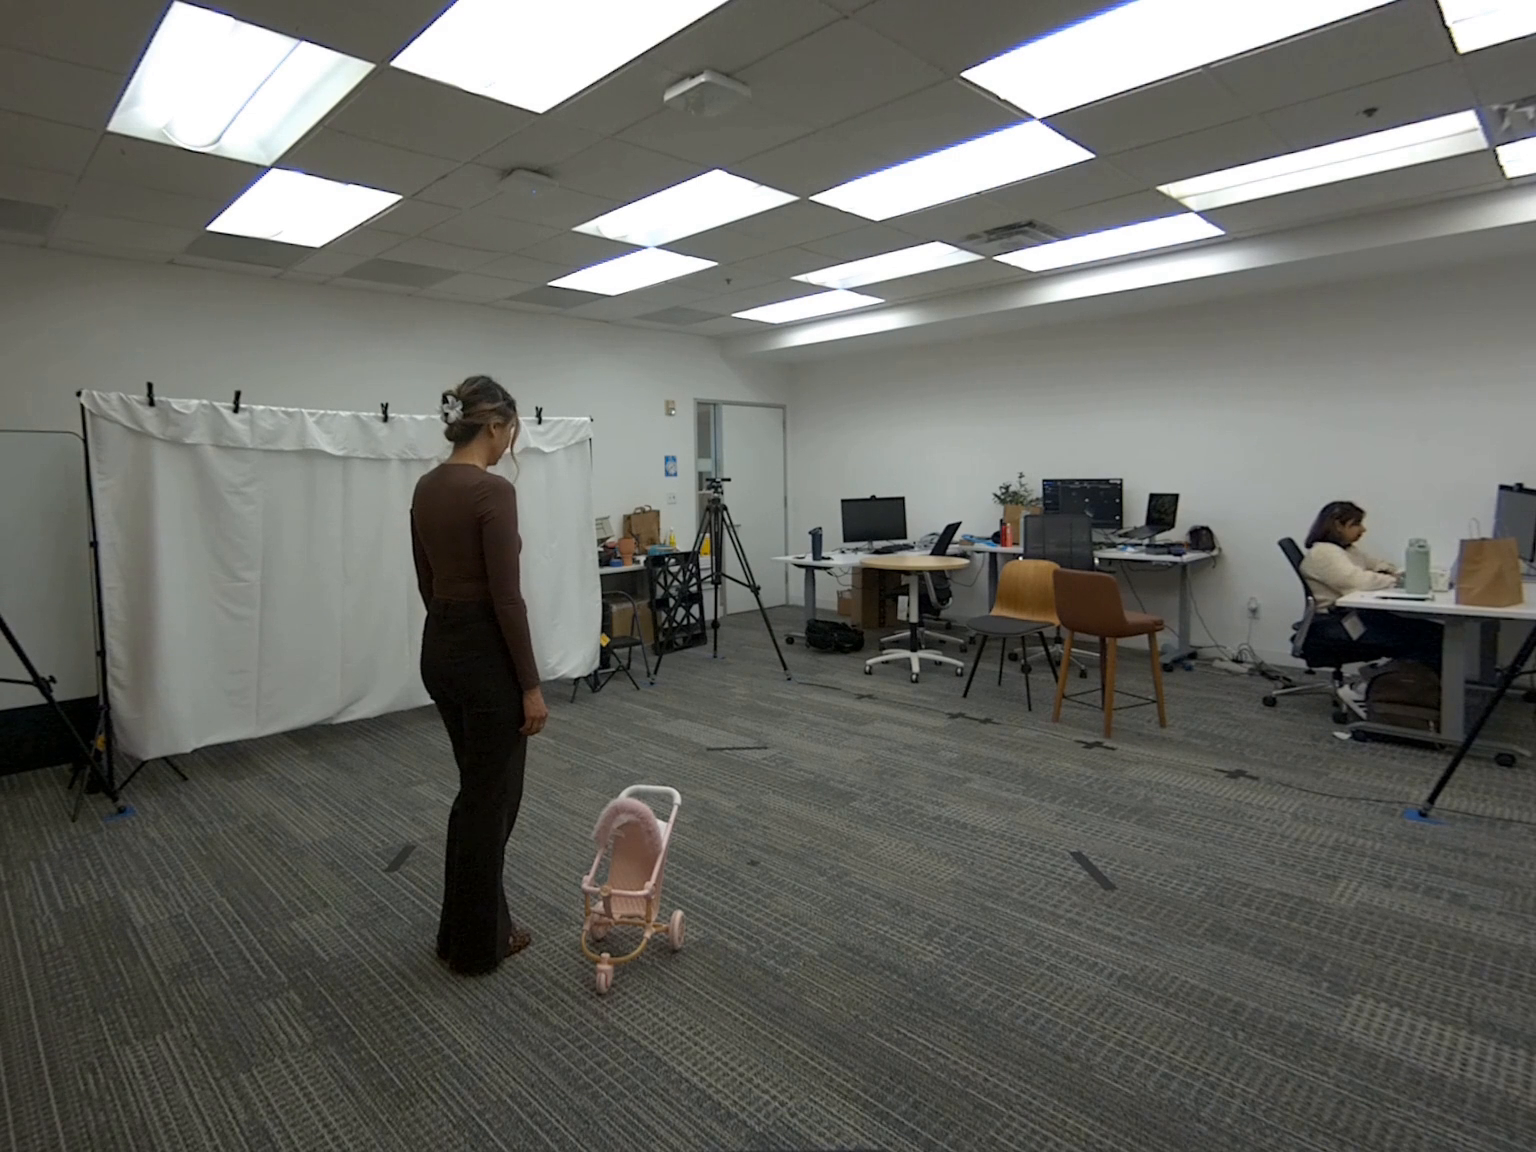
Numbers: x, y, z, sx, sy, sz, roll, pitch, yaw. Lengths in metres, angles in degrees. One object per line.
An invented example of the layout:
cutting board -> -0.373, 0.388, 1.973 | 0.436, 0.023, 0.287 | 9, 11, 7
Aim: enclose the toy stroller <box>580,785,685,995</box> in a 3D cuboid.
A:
toy stroller -> -0.411, 0.897, 2.514 | 0.286, 0.541, 0.332 | -1, -13, 17
